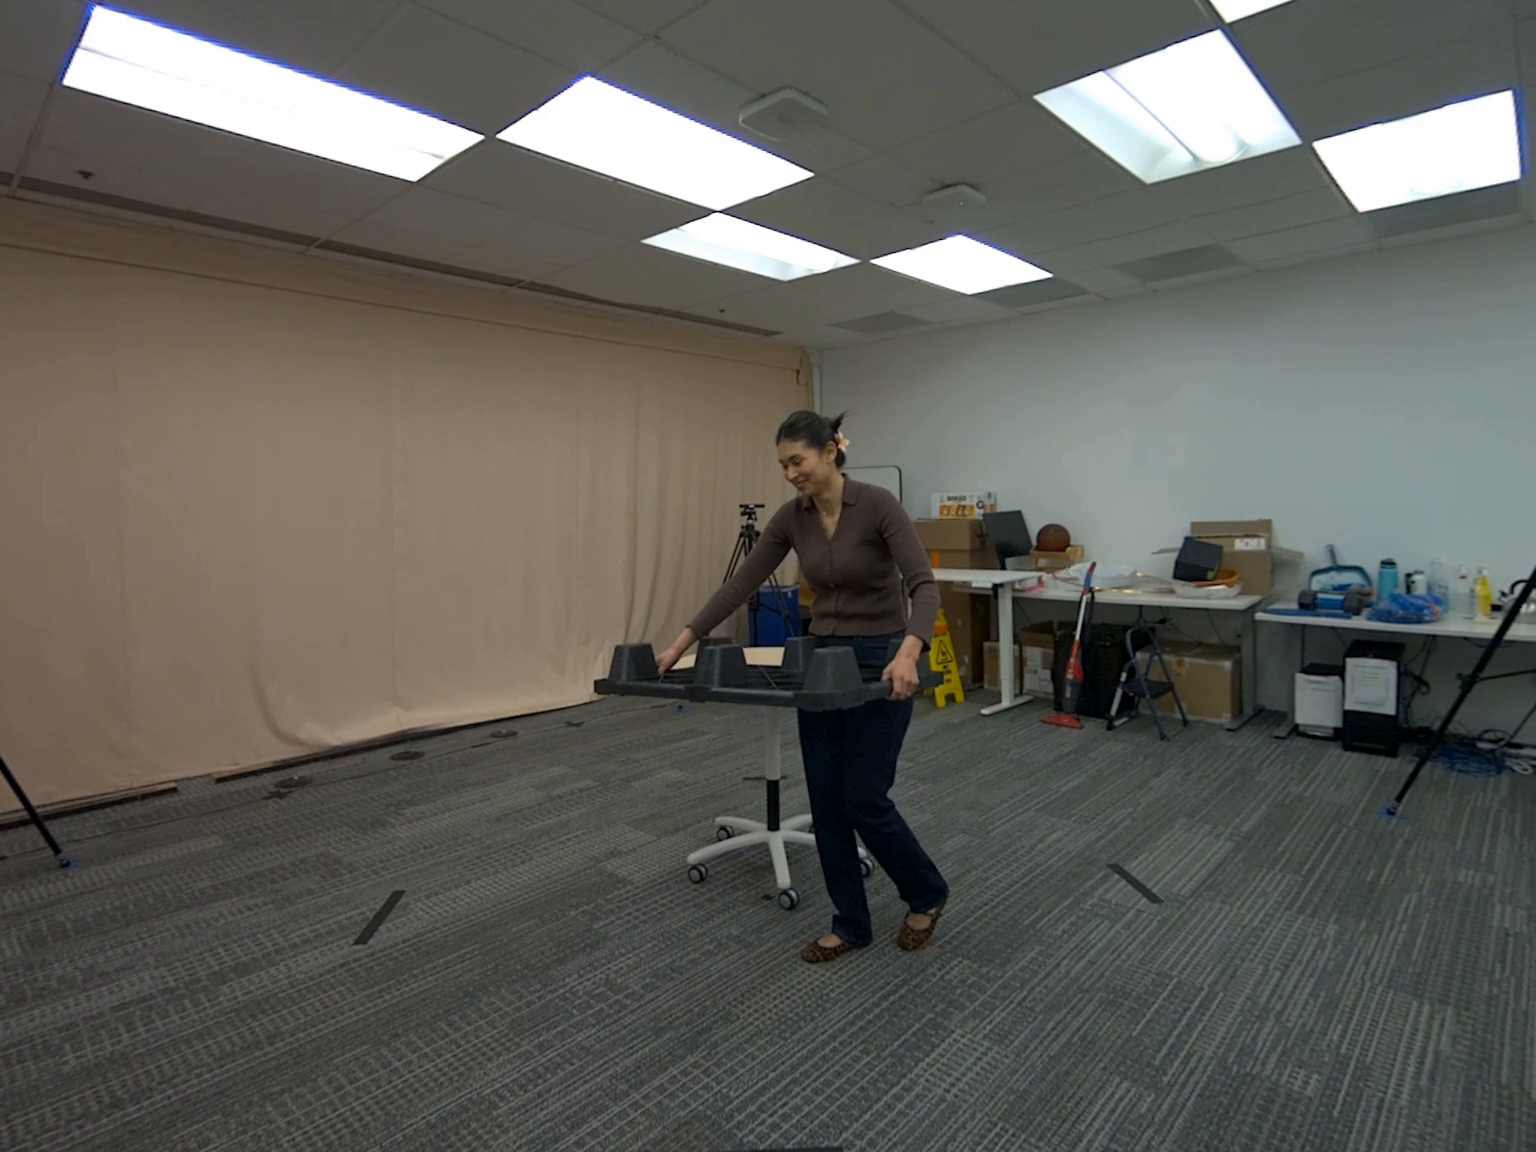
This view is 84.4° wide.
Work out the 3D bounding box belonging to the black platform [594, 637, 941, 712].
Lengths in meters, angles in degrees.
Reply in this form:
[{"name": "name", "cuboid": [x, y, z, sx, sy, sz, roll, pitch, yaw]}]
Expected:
[{"name": "black platform", "cuboid": [0.003, 0.253, 2.356, 0.830, 0.143, 0.586, -2, -1, 38]}]
